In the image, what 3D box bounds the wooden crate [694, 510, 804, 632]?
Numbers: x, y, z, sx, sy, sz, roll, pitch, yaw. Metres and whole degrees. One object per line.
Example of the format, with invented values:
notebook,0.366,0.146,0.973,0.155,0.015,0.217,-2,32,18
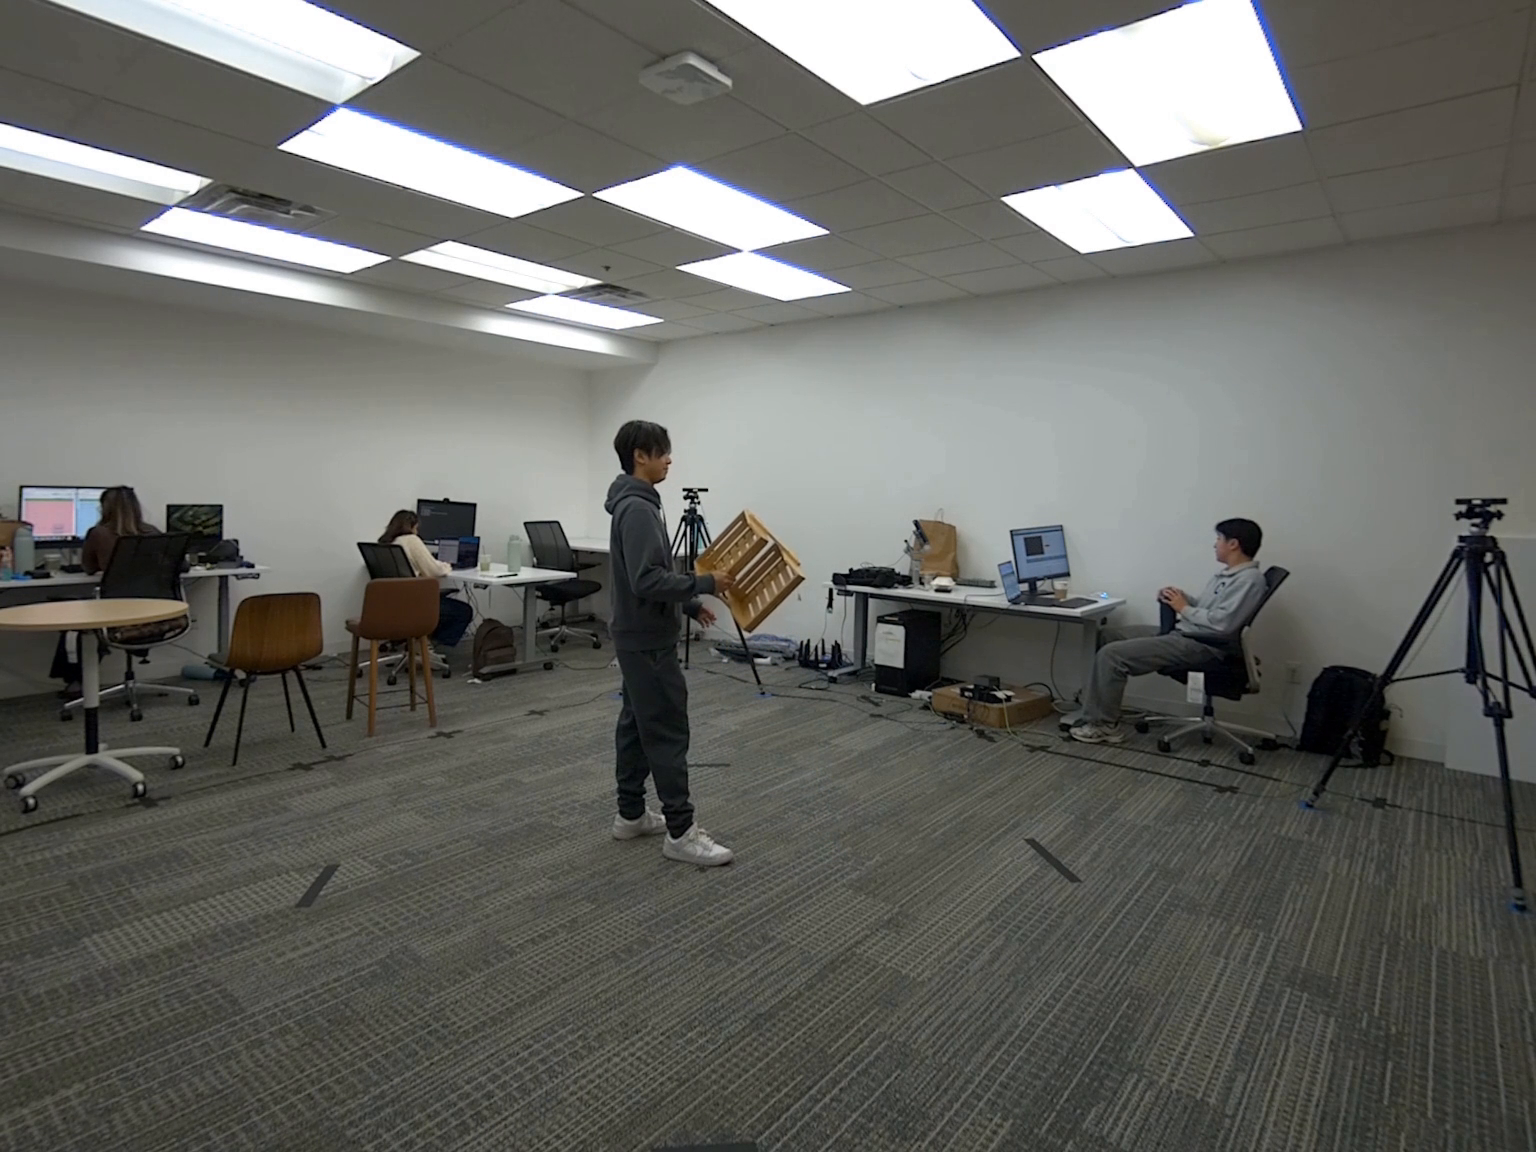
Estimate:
wooden crate,-0.089,-0.019,3.236,0.265,0.324,0.311,39,14,-23
